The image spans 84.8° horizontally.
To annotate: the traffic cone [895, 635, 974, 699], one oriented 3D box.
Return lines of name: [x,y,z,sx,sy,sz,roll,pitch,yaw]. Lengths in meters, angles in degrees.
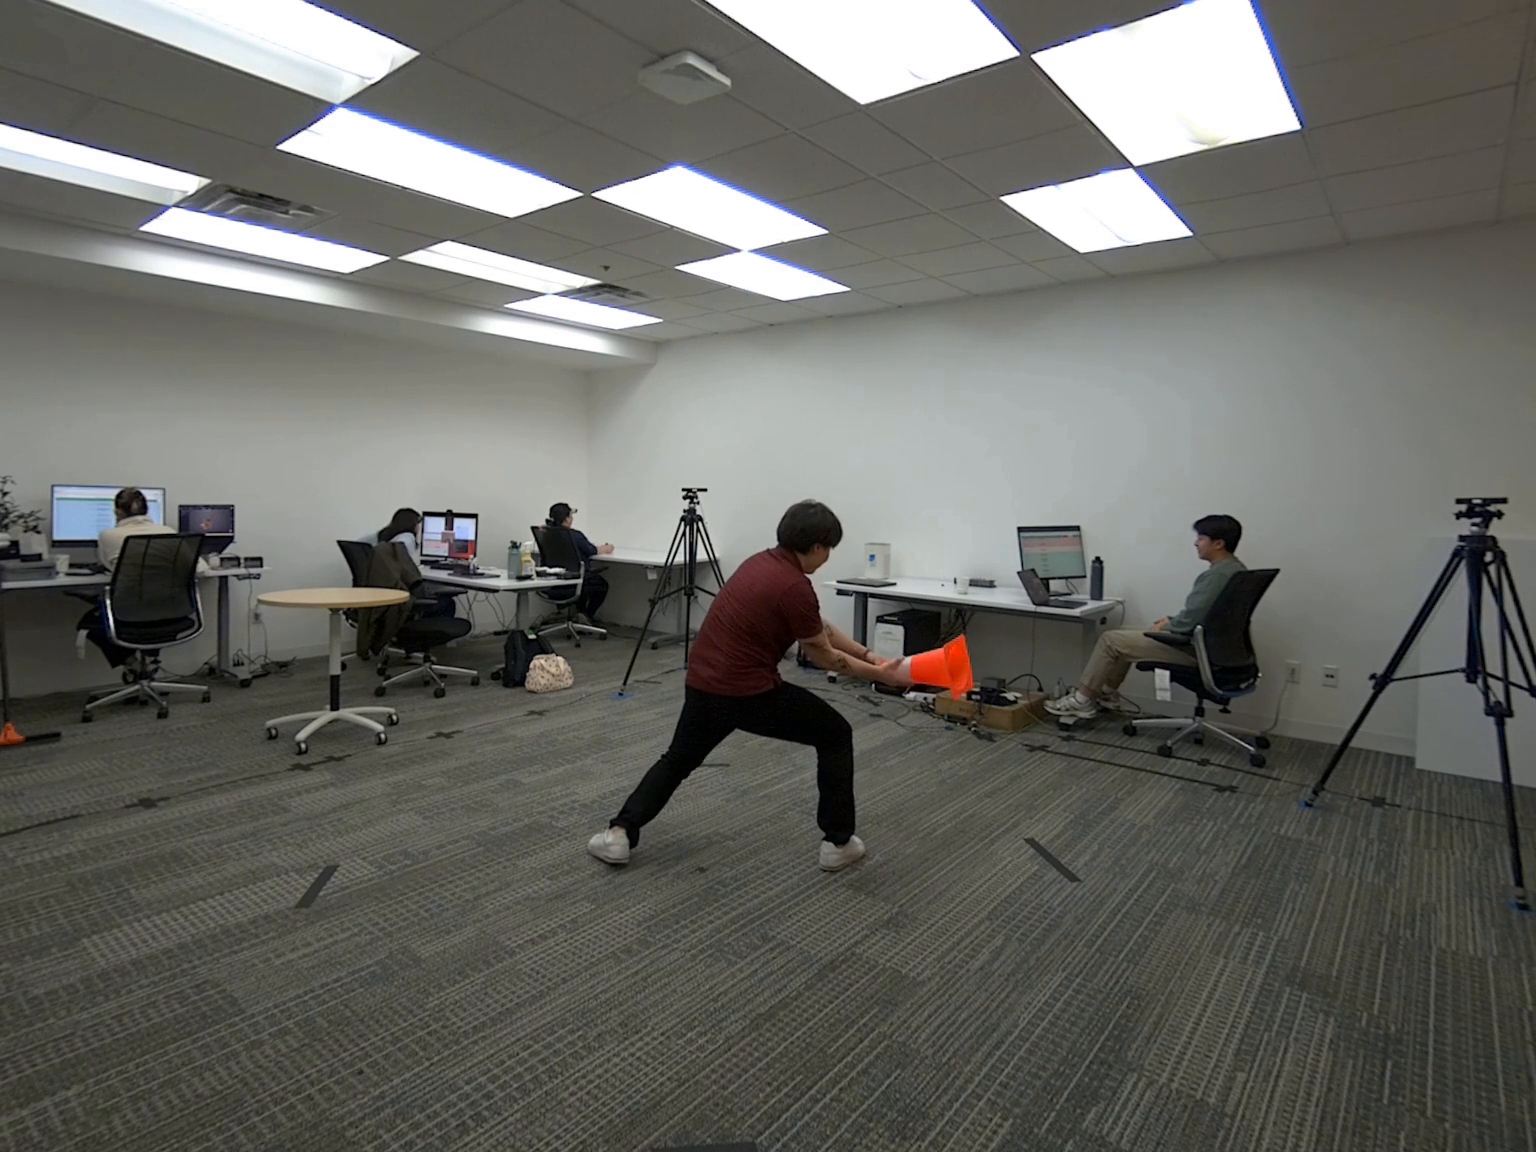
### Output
traffic cone: [0.530,0.346,3.196,0.394,0.205,0.198,-8,0,37]
